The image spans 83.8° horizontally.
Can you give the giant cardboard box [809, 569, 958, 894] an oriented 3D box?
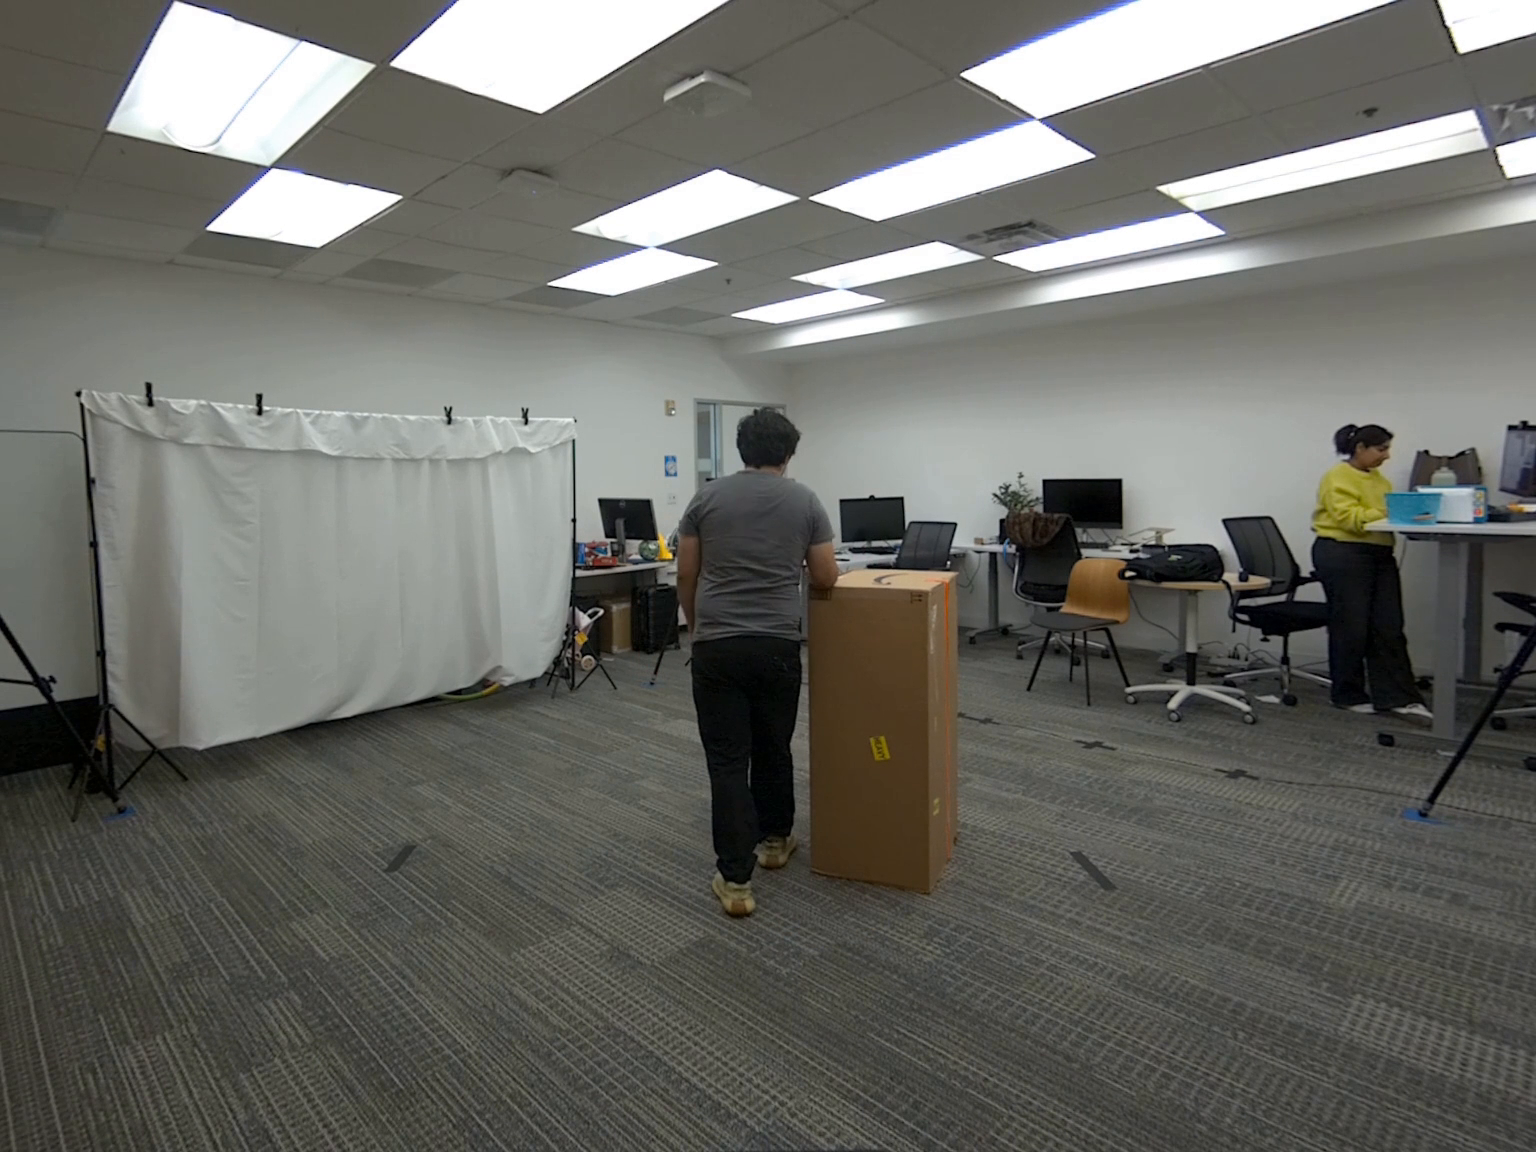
[{"bbox_3d":[0.447,0.519,3.167,0.436,1.022,0.566,1,4,25],"label":"giant cardboard box"}]
